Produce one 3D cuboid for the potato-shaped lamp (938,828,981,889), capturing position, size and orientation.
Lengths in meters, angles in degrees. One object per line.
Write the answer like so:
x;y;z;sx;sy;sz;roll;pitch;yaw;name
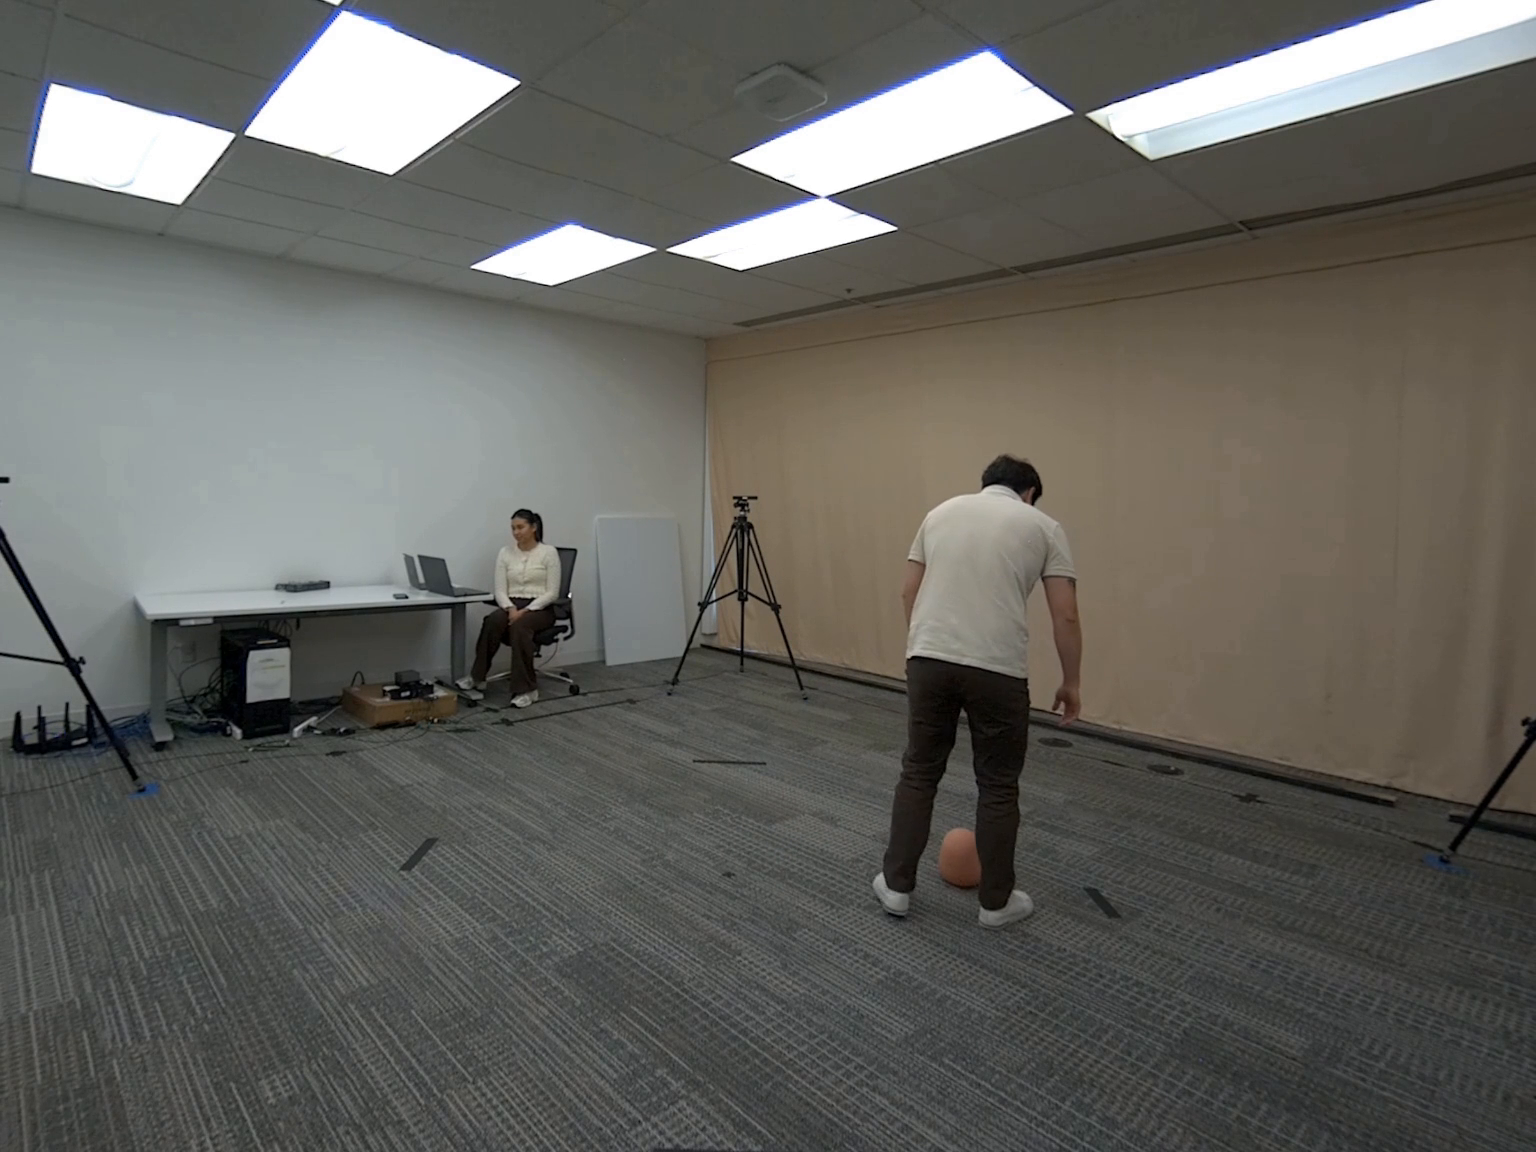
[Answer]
0.705;1.025;3.089;0.168;0.197;0.168;6;8;28;potato-shaped lamp
